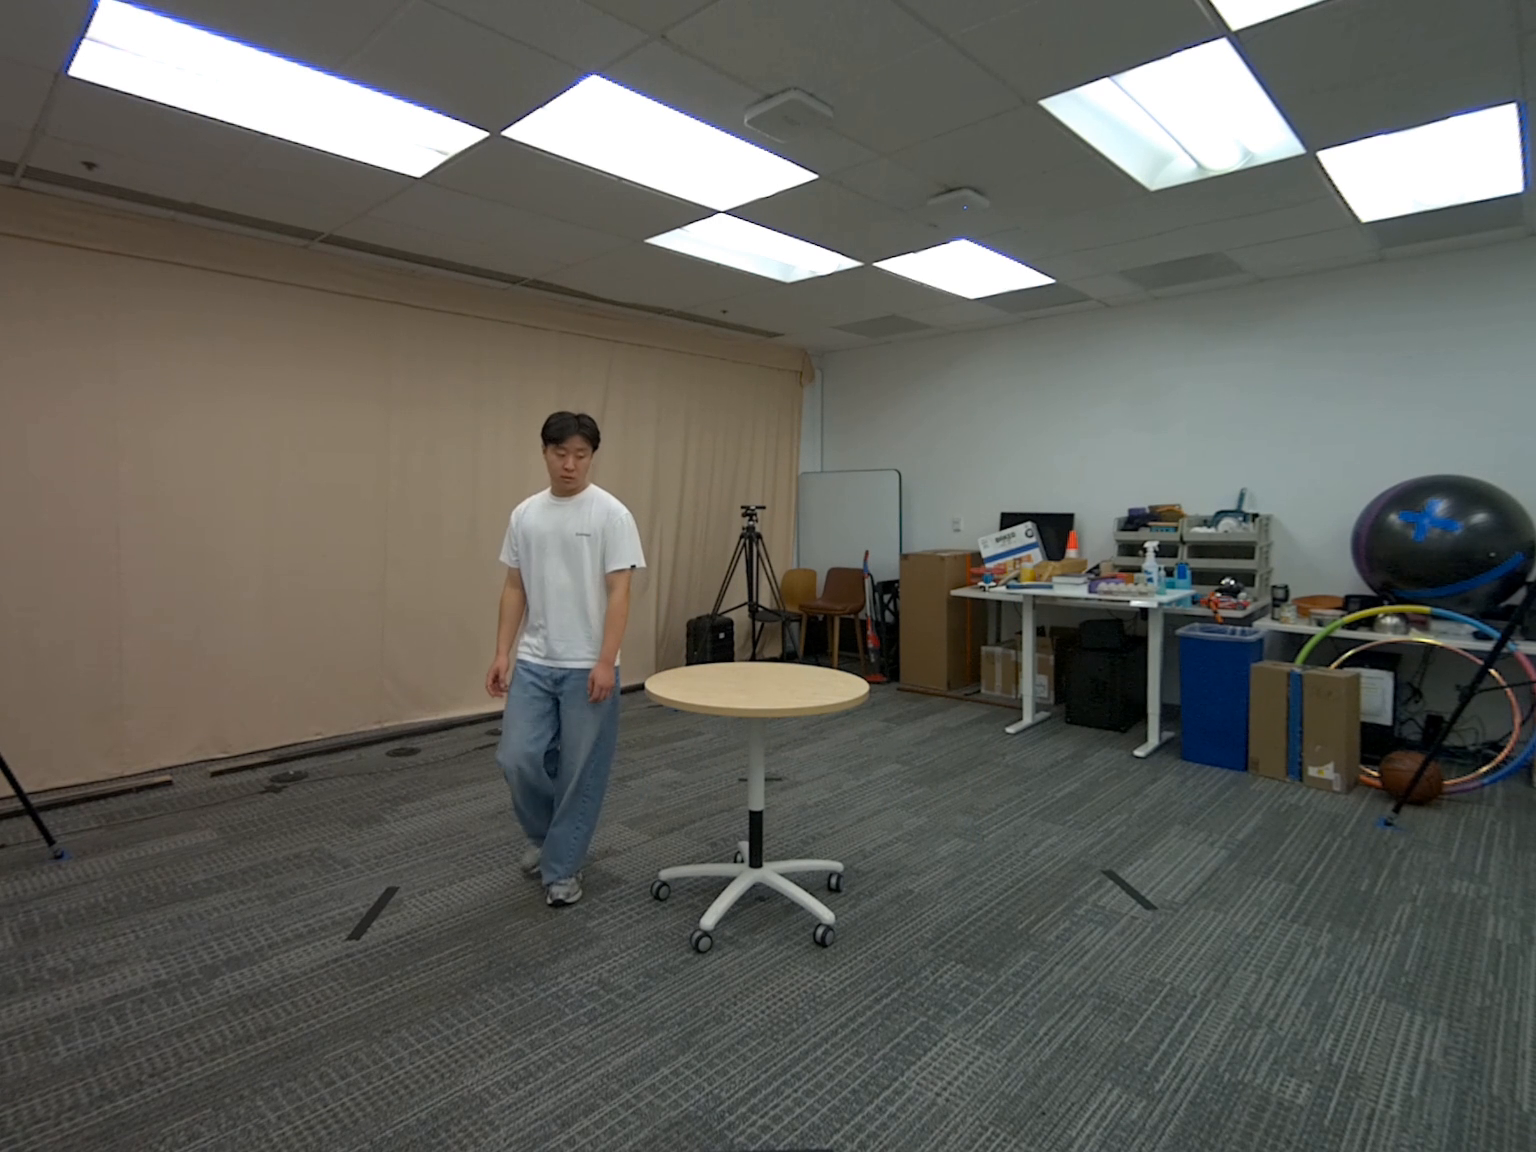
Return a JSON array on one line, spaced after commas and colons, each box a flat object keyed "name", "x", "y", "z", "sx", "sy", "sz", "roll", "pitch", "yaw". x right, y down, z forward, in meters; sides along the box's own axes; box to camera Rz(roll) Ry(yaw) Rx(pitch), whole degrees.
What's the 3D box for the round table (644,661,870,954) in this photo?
[{"name": "round table", "x": -0.037, "y": 0.762, "z": 2.914, "sx": 0.763, "sy": 0.792, "sz": 0.767, "roll": 0, "pitch": 4, "yaw": -2}]
